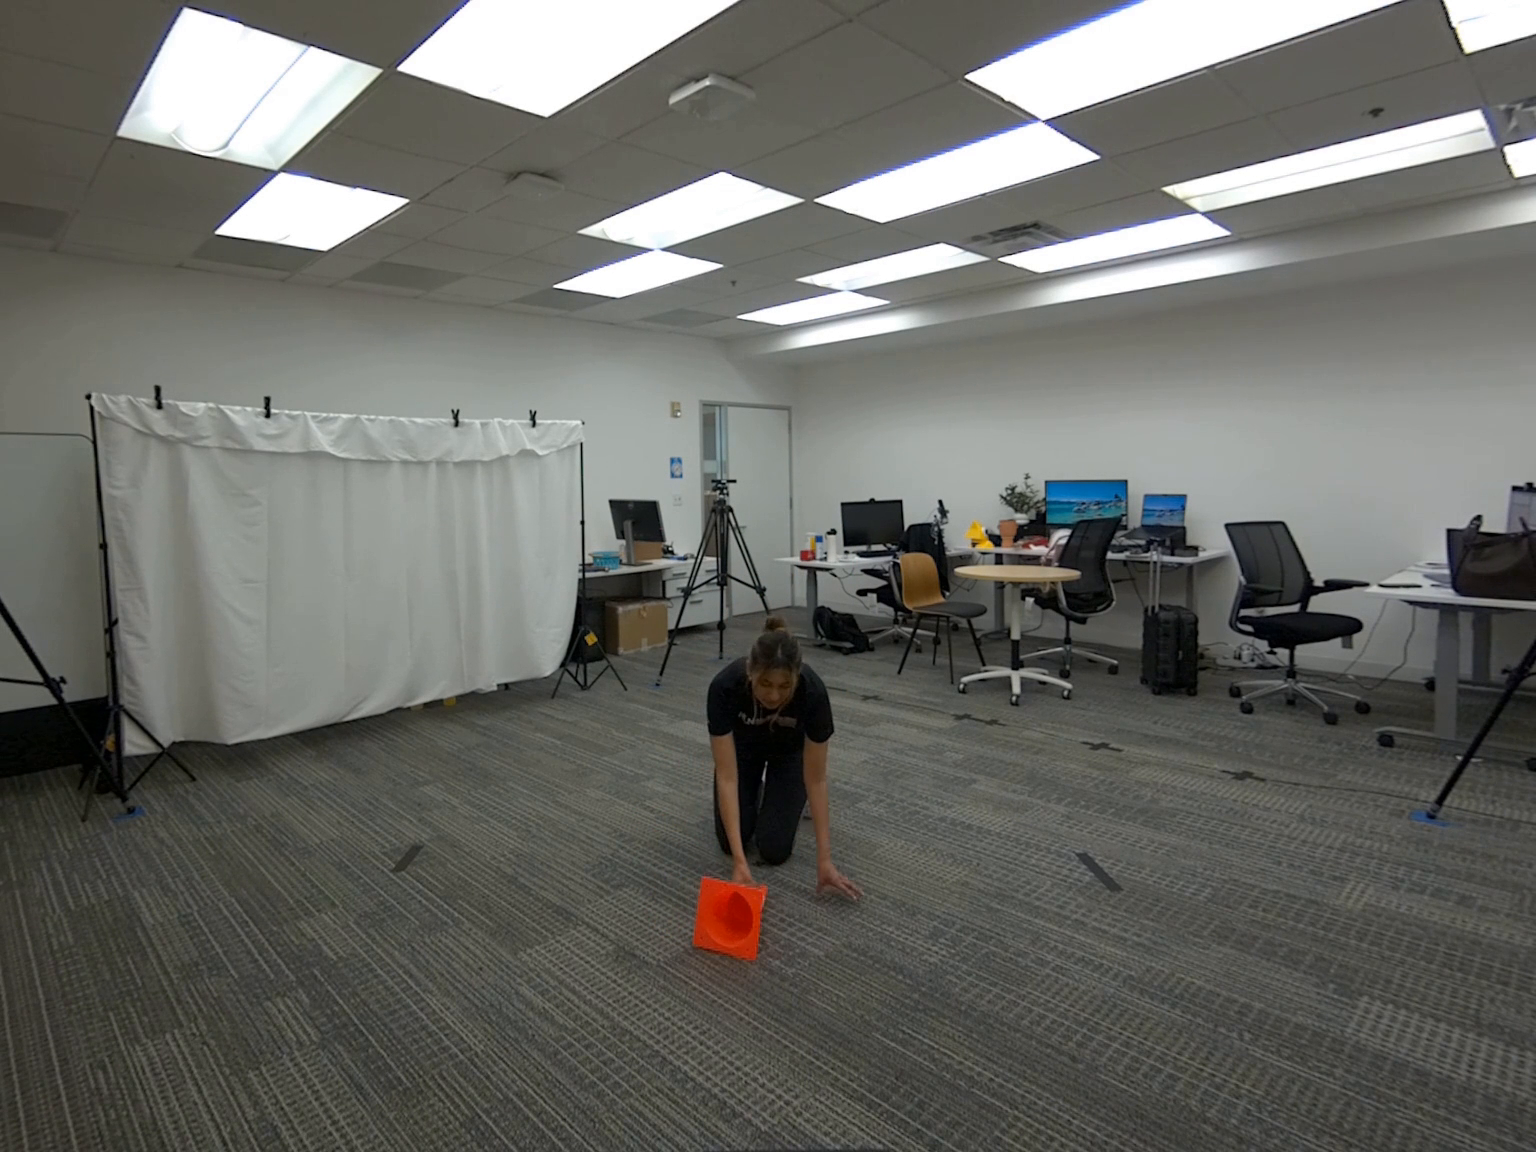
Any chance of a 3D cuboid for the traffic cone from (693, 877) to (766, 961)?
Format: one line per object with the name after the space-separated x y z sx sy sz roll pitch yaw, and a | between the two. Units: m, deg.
-0.059 1.053 2.710 0.207 0.206 0.374 5 -8 18 | traffic cone
